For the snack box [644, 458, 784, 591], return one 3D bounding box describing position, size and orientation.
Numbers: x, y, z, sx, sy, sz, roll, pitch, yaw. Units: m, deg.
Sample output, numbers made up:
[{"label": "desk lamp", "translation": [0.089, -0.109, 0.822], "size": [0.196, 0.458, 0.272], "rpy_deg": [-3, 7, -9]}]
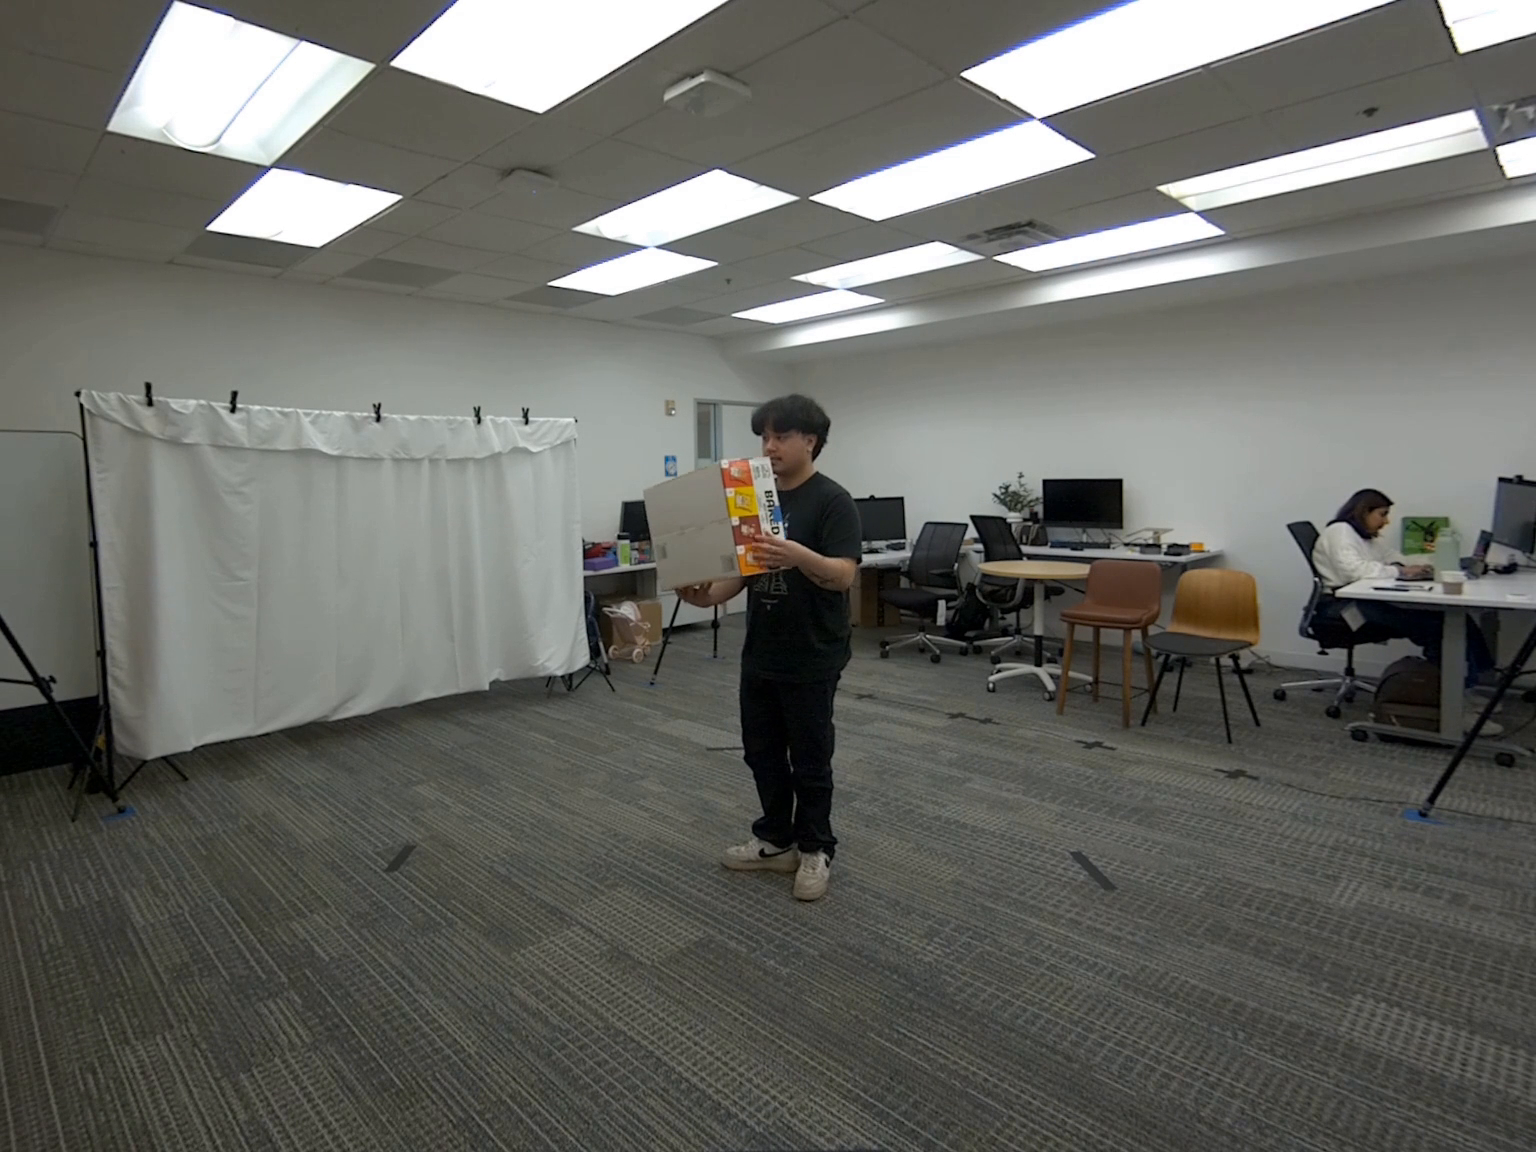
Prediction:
[{"label": "snack box", "translation": [-0.175, -0.150, 2.649], "size": [0.200, 0.342, 0.414], "rpy_deg": [-7, -4, -41]}]
